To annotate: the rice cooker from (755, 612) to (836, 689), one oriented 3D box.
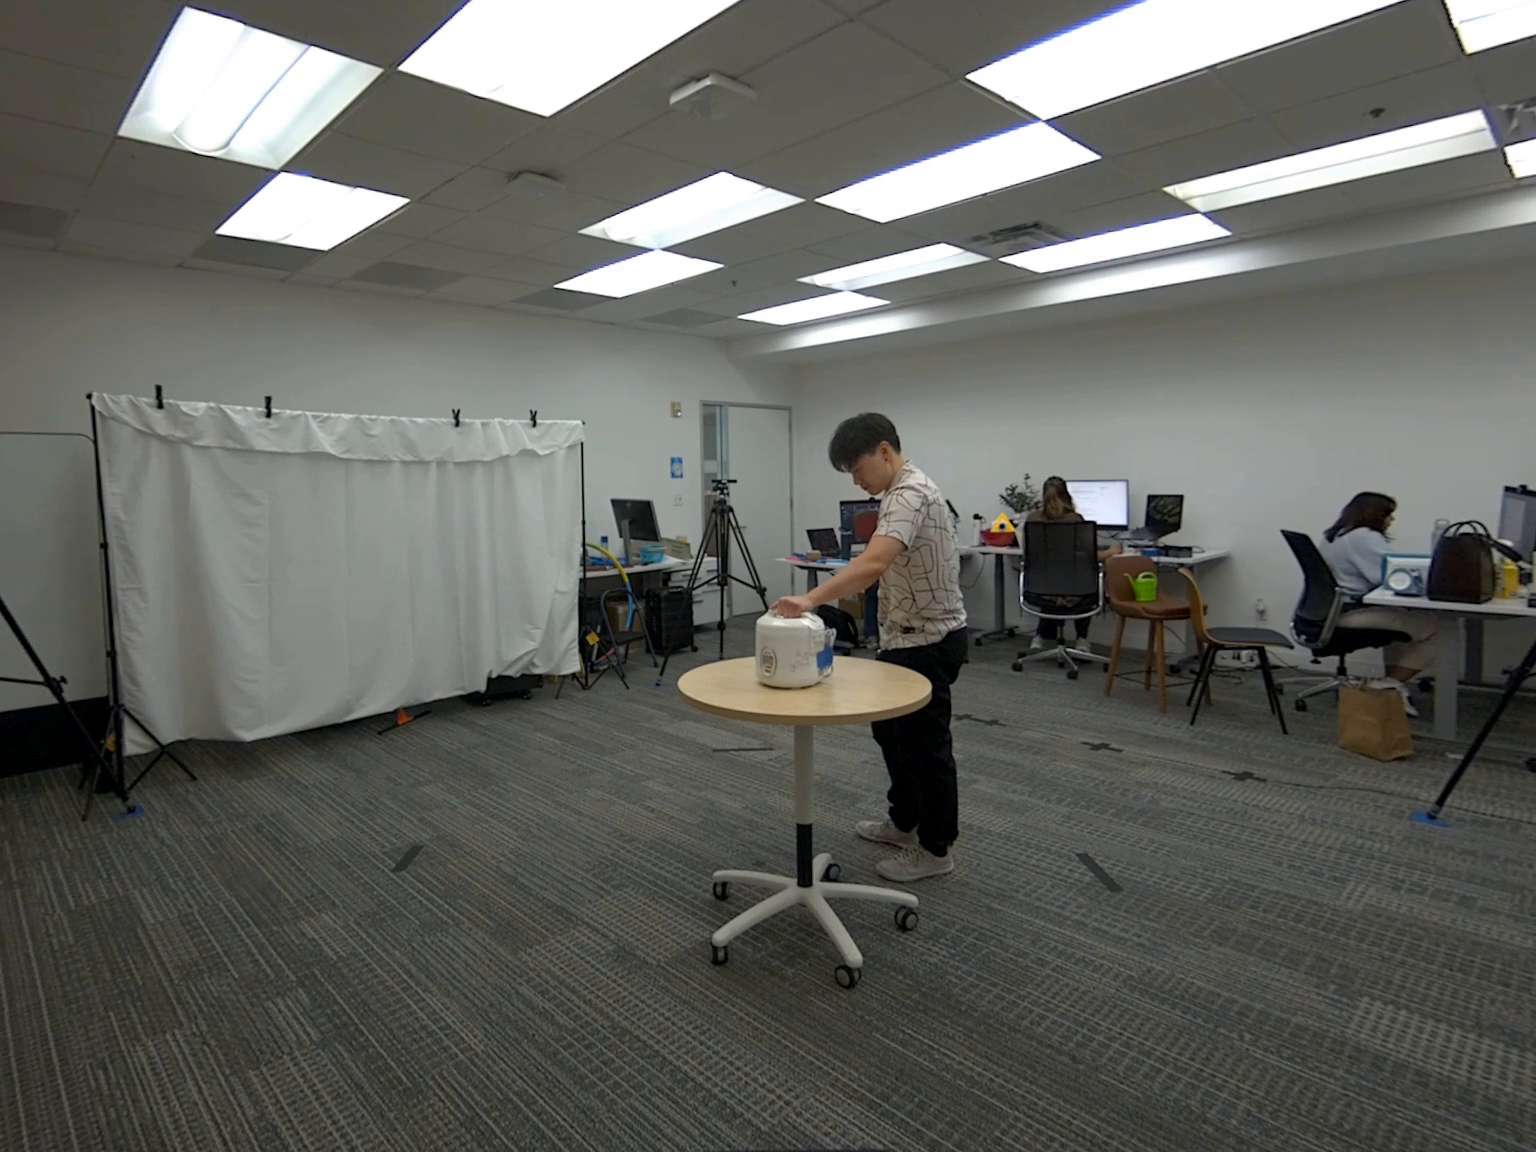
[{"bbox_3d":[0.069,0.209,2.578,0.227,0.232,0.212,3,5,40],"label":"rice cooker"}]
